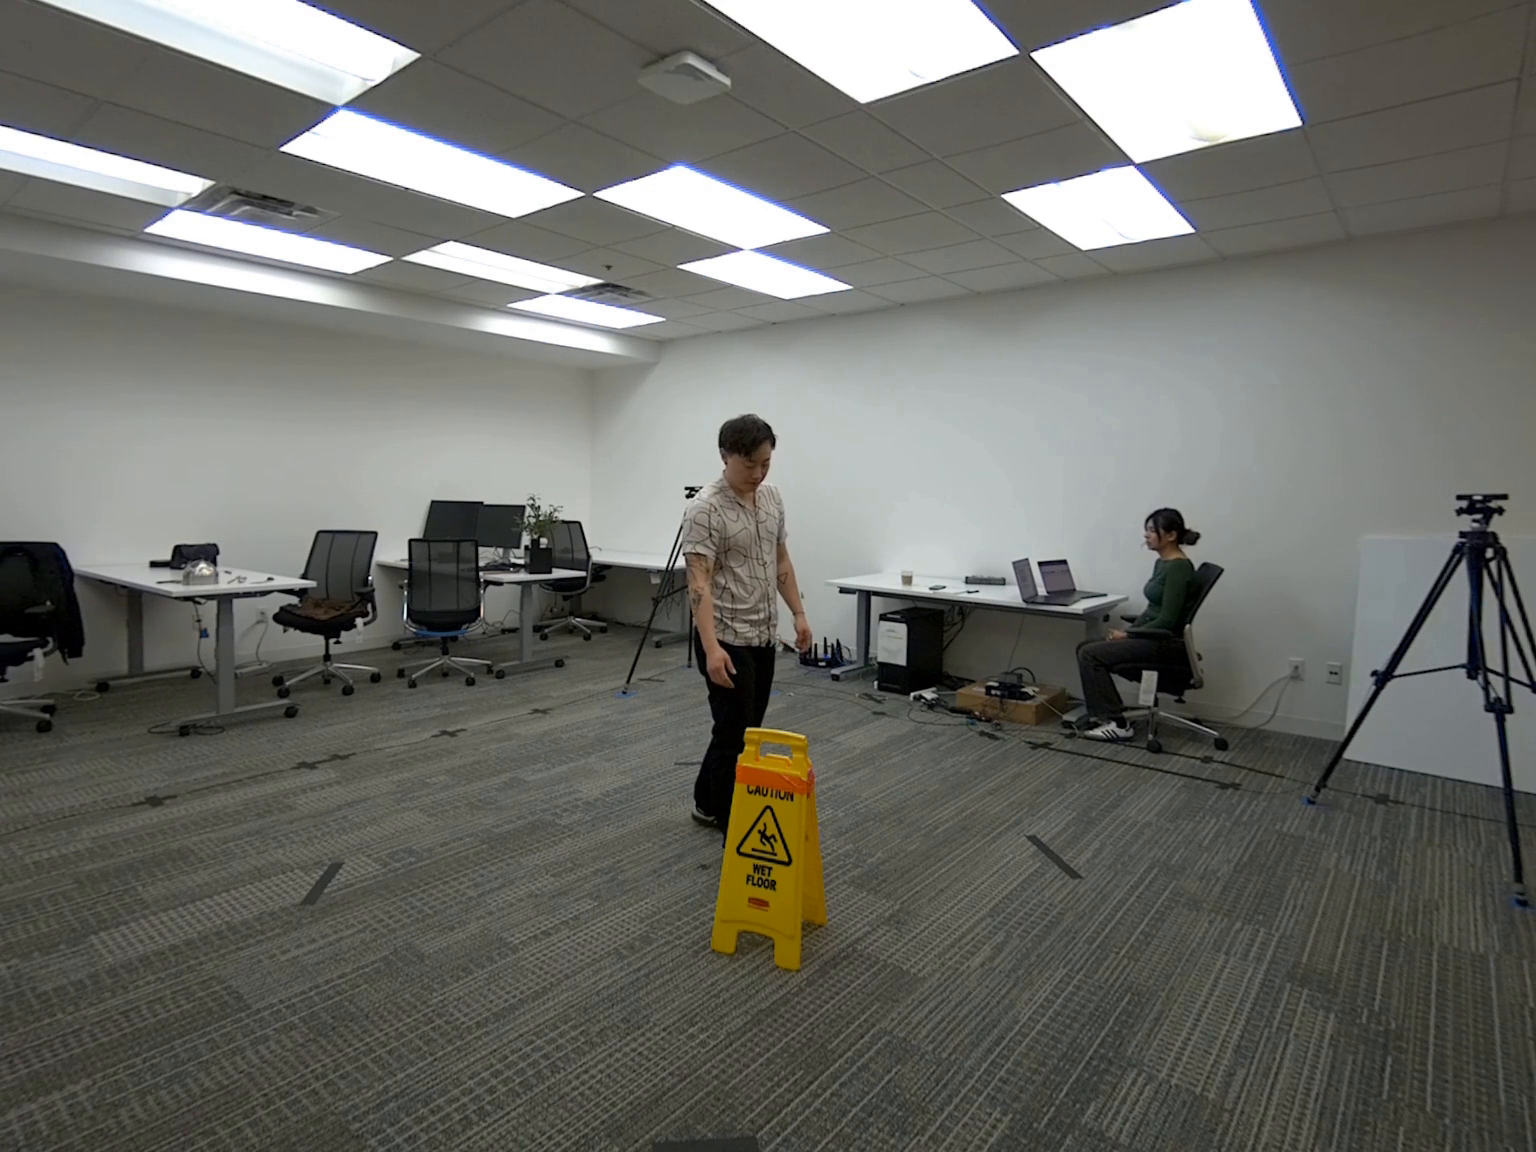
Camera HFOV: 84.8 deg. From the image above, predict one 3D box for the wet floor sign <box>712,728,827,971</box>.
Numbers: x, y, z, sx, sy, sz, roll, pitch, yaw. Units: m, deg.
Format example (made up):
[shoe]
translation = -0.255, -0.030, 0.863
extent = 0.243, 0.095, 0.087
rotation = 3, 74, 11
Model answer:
[wet floor sign]
translation = 0.010, 0.792, 2.625
extent = 0.289, 0.644, 0.283
rotation = 4, 3, 22
